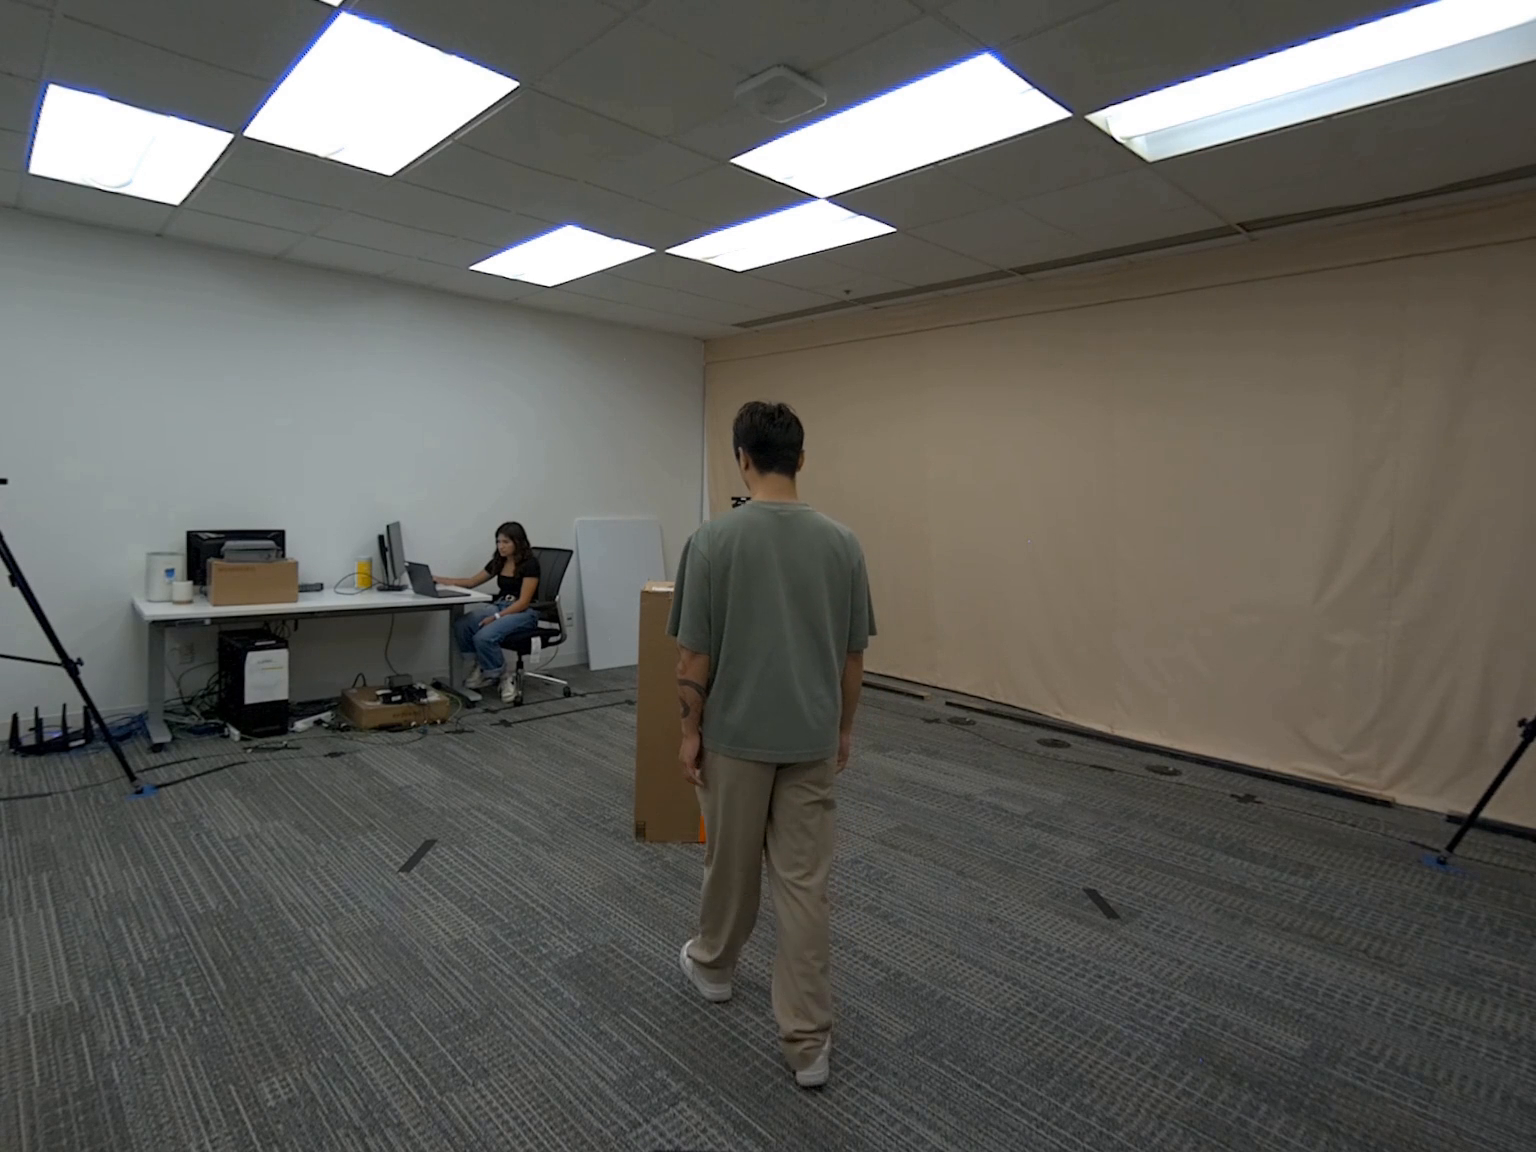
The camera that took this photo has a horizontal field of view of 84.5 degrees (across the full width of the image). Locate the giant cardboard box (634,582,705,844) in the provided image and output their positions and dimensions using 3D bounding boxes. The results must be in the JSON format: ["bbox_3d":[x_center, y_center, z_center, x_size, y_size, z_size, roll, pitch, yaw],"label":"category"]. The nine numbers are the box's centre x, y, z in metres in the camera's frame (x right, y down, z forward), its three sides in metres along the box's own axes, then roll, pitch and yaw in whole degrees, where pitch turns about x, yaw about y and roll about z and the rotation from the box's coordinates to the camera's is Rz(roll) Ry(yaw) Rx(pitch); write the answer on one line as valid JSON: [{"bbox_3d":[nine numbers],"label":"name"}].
[{"bbox_3d":[-0.261,0.555,3.583,0.576,1.024,0.428,2,3,-3],"label":"giant cardboard box"}]
